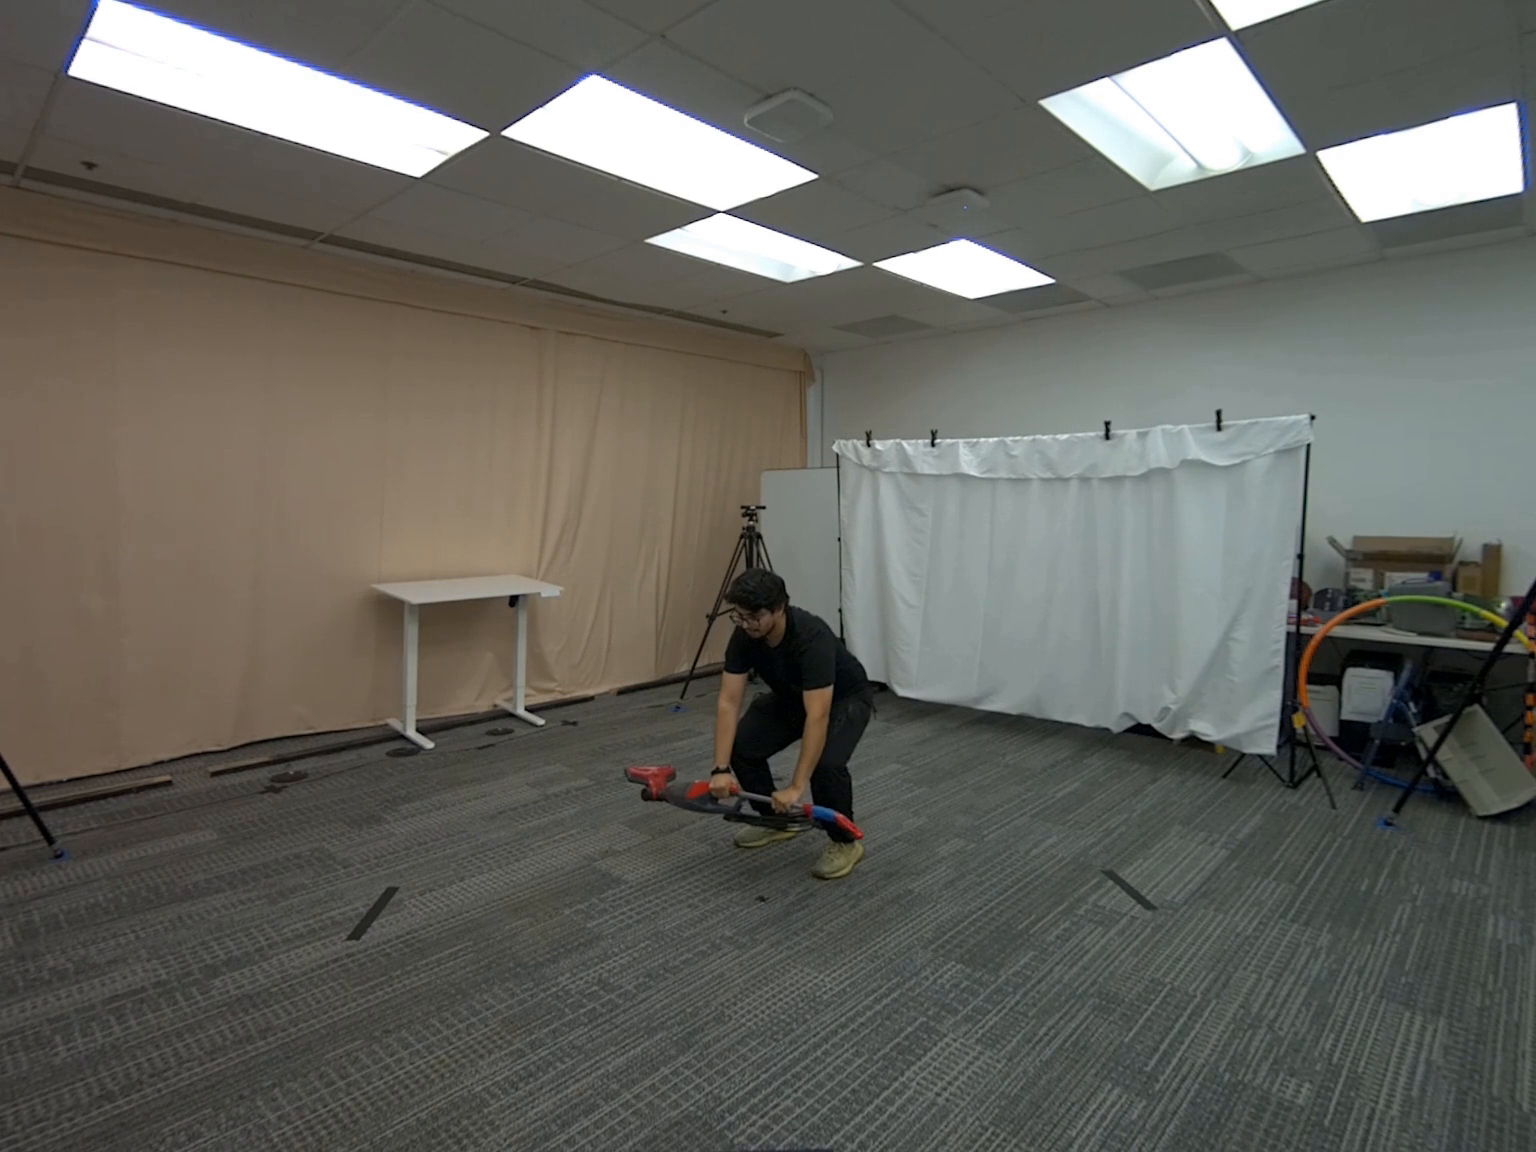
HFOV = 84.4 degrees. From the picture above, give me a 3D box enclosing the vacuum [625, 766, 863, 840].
[{"bbox_3d":[-0.093,0.833,3.033,0.244,0.144,1.082,15,-11,-43],"label":"vacuum"}]
